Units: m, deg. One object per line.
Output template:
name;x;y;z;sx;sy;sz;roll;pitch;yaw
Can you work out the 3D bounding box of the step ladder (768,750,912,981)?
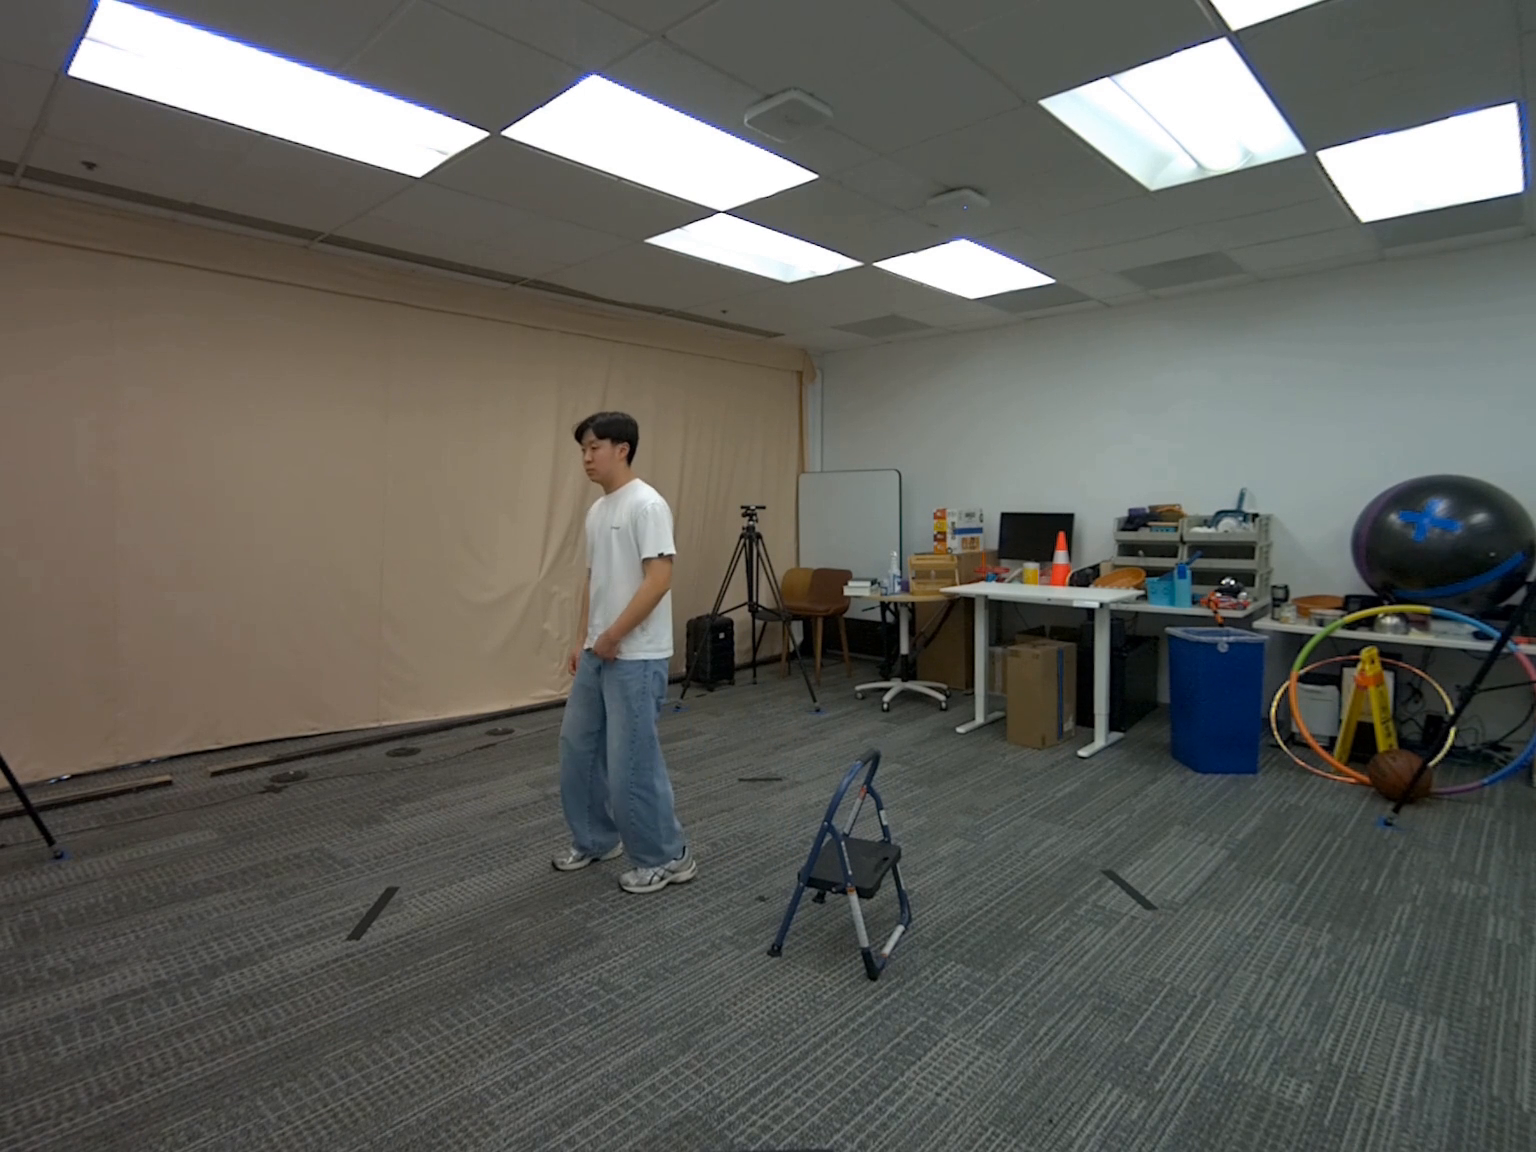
step ladder;0.244;0.864;2.700;0.358;0.605;0.420;1;4;26
